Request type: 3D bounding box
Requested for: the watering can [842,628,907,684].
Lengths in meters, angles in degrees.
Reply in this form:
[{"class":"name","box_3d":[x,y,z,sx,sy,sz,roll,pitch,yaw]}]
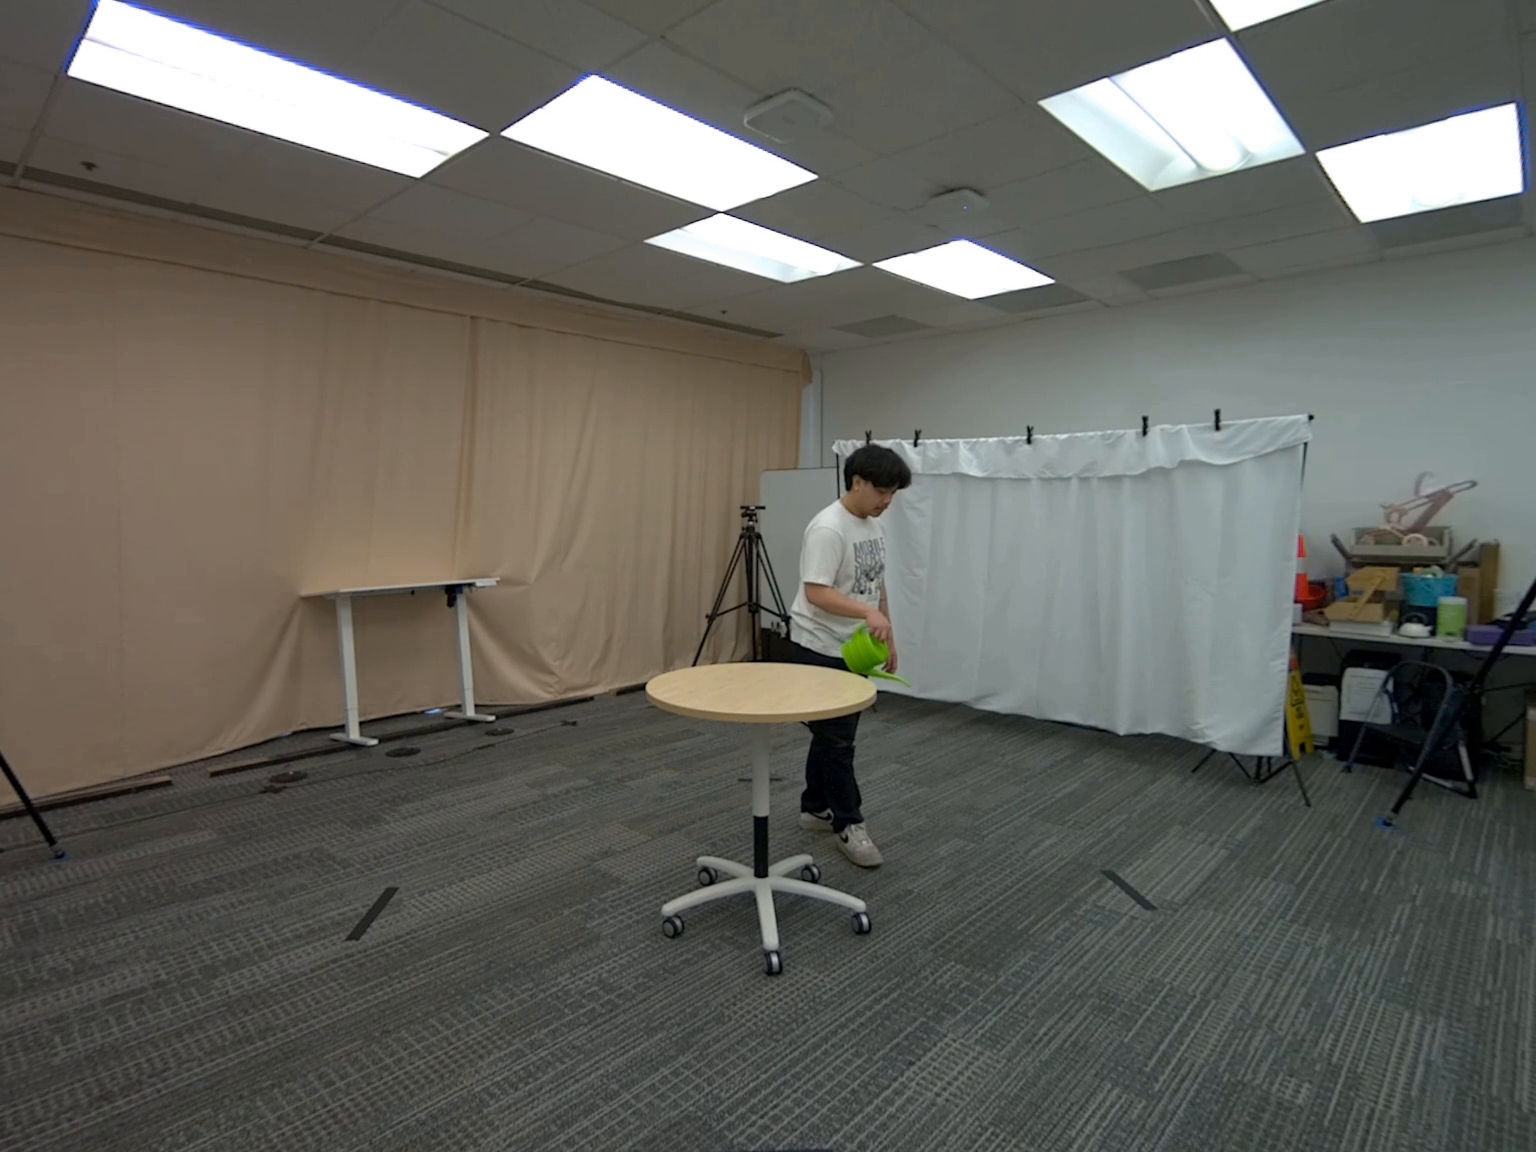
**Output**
[{"class":"watering can","box_3d":[0.392,0.320,3.164,0.179,0.284,0.095,-34,-25,33]}]
